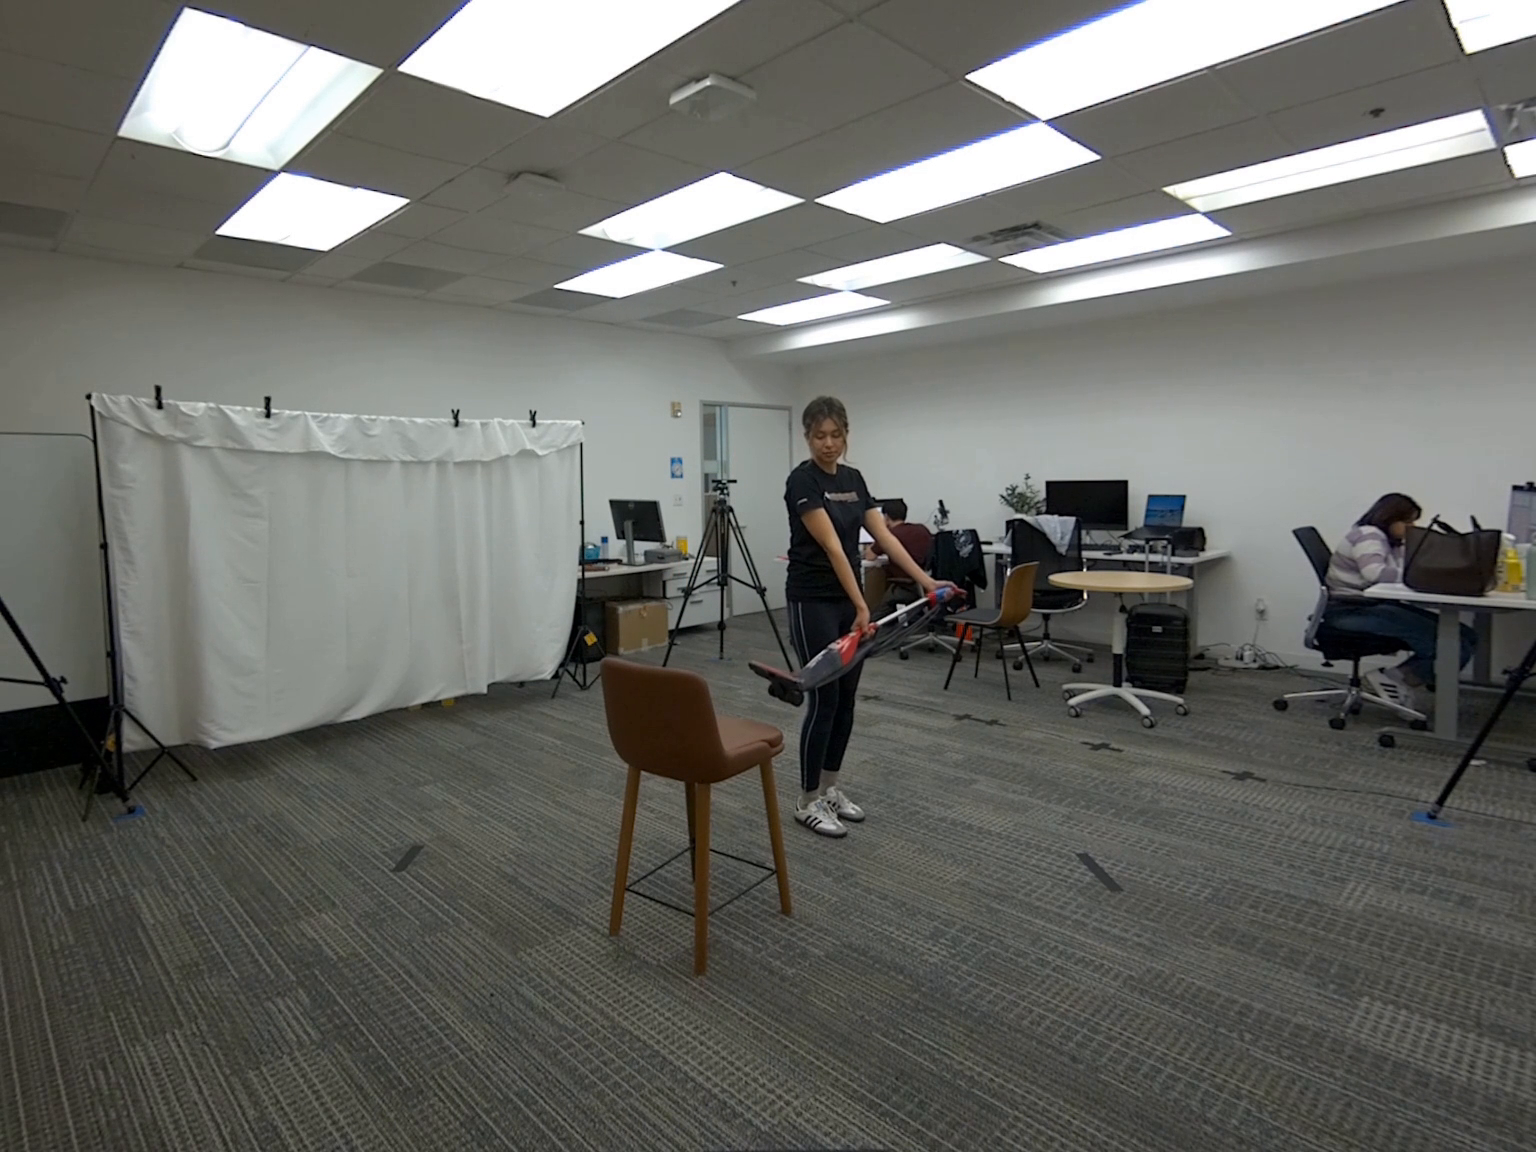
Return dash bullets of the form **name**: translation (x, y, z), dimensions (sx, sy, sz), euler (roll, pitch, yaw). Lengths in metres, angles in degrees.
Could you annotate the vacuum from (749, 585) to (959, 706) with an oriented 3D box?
- **vacuum**: translation (0.423, 0.241, 3.235), dimensions (1.031, 0.141, 0.261), euler (-21, 23, -35)
